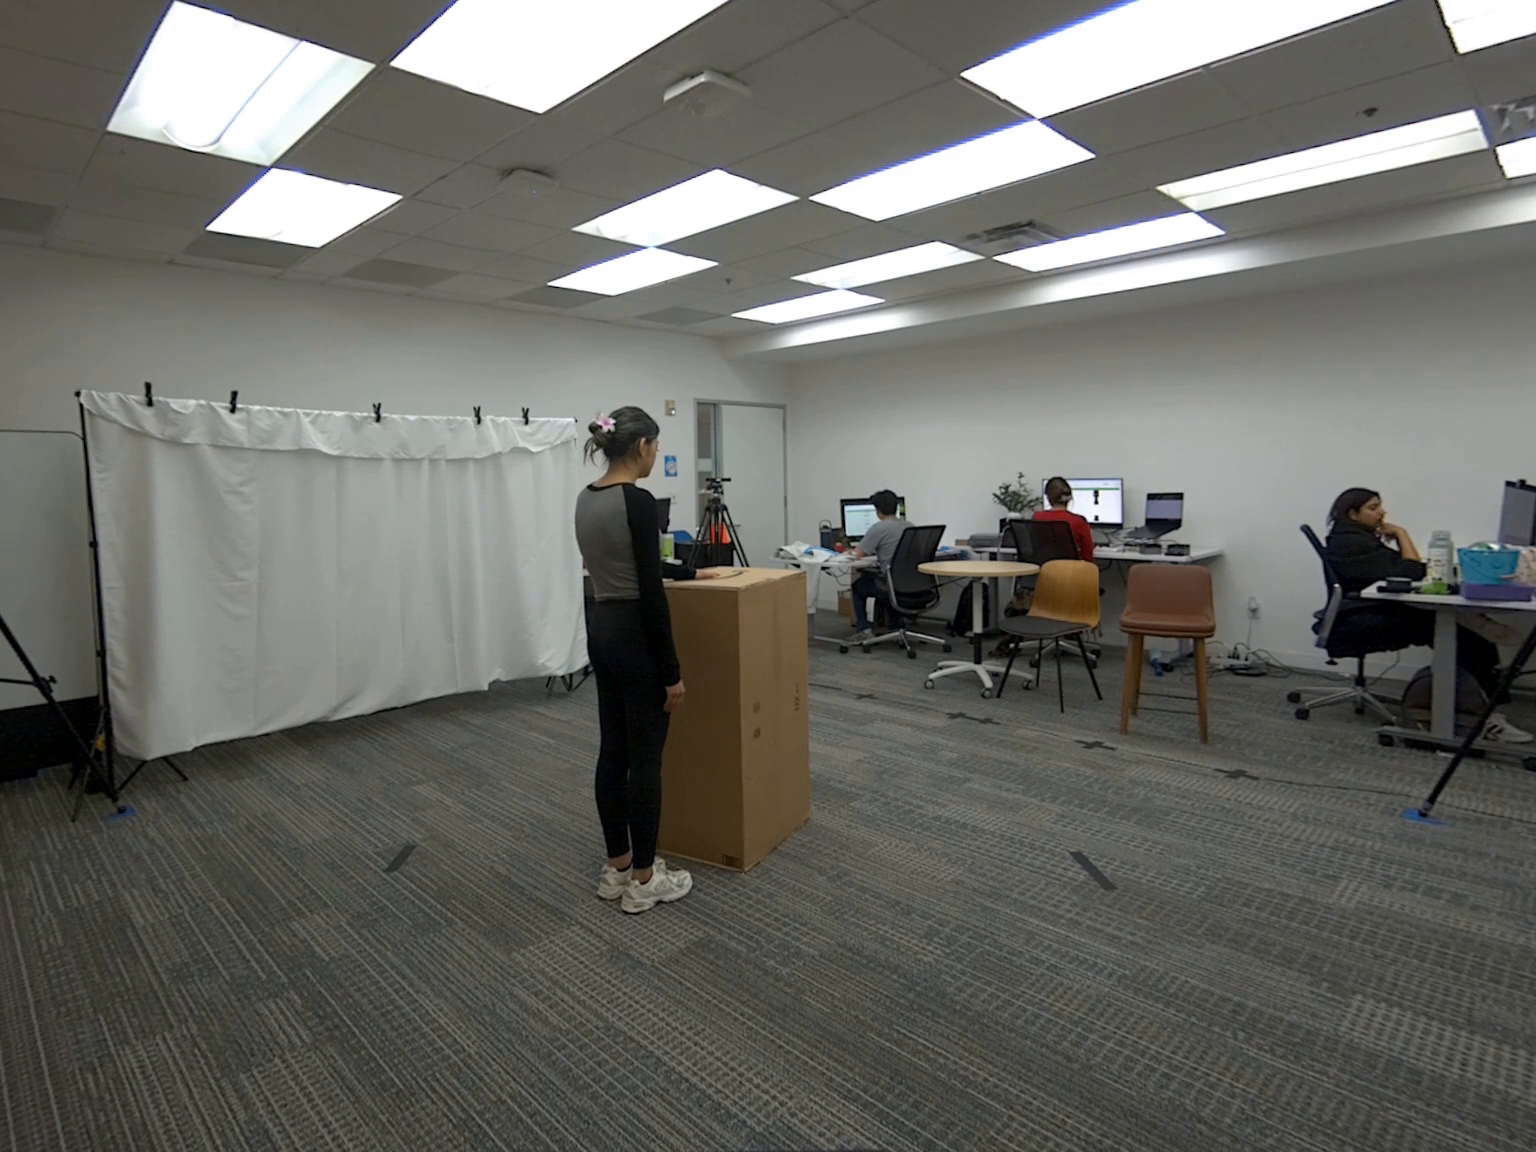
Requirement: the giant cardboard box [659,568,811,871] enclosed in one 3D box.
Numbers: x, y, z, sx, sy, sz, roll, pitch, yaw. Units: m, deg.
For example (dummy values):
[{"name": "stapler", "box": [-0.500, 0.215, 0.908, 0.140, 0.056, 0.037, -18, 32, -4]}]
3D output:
[{"name": "giant cardboard box", "box": [-0.149, 0.511, 3.342, 0.458, 1.023, 0.572, 2, 5, 27]}]
